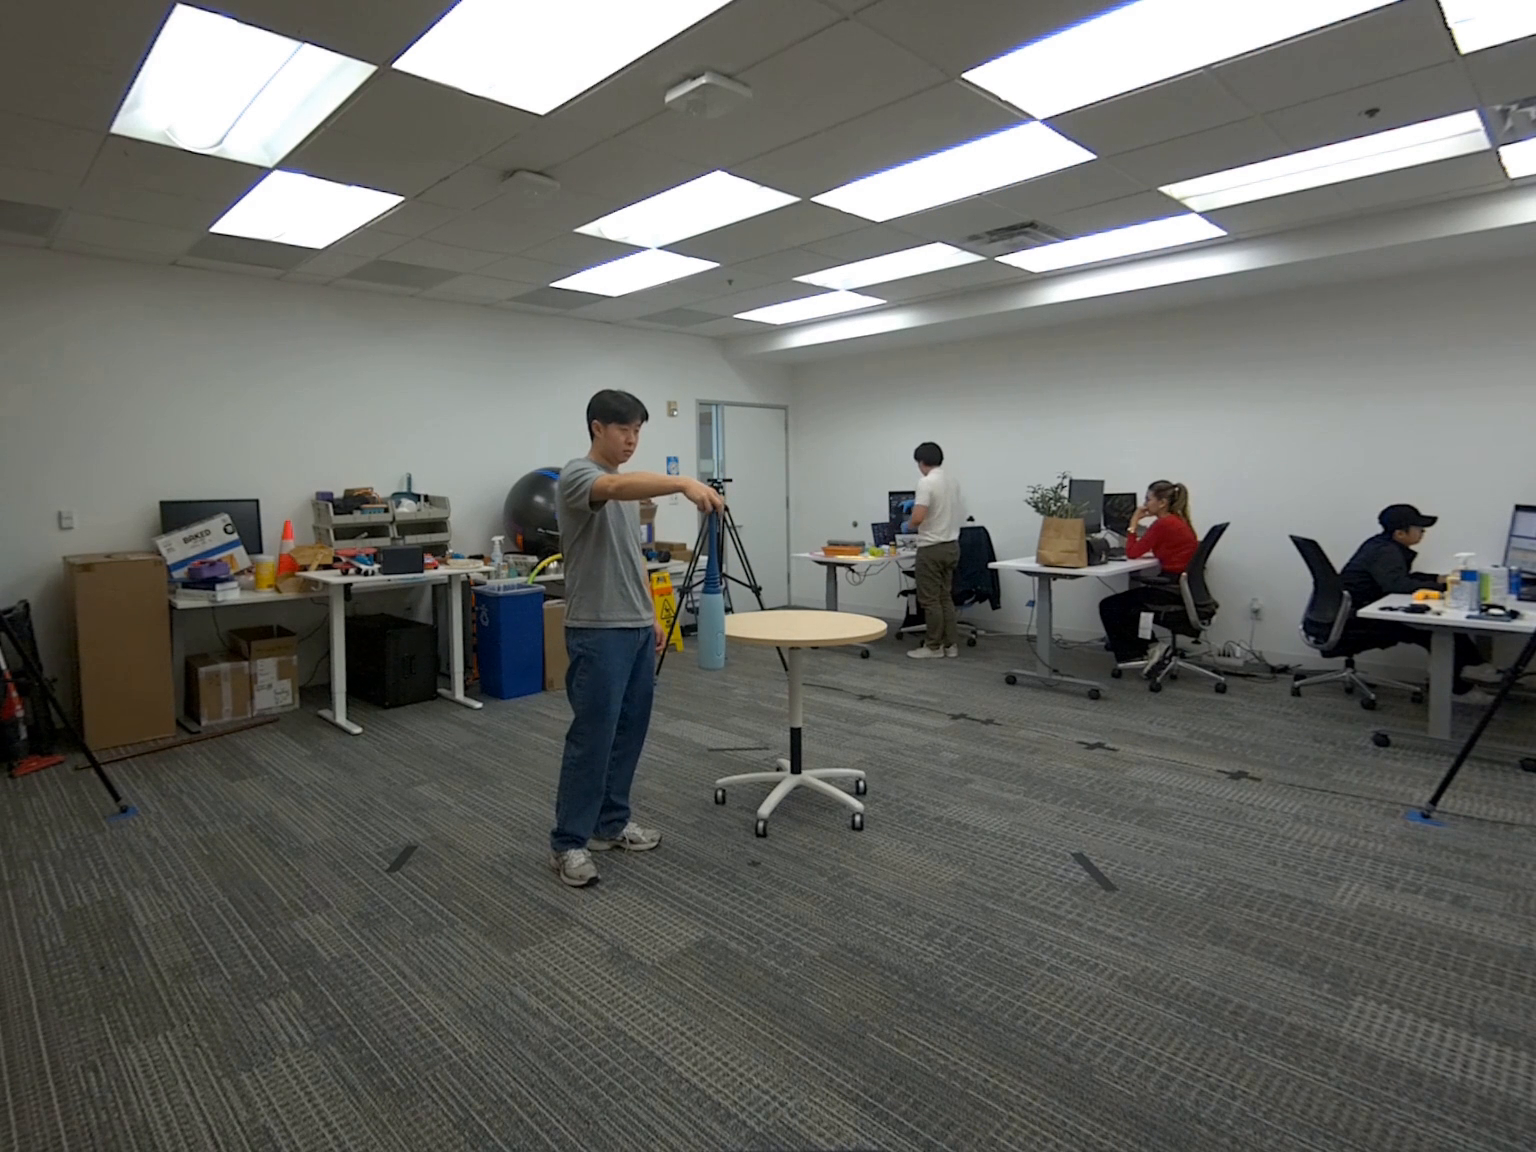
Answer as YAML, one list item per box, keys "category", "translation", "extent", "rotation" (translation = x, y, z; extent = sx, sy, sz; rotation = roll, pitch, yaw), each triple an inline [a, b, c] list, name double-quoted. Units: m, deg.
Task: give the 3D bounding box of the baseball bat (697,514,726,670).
- category: "baseball bat"
  translation: [-0.177, 0.035, 2.770]
  extent: [0.089, 0.541, 0.089]
  rotation: [0, 3, -2]
